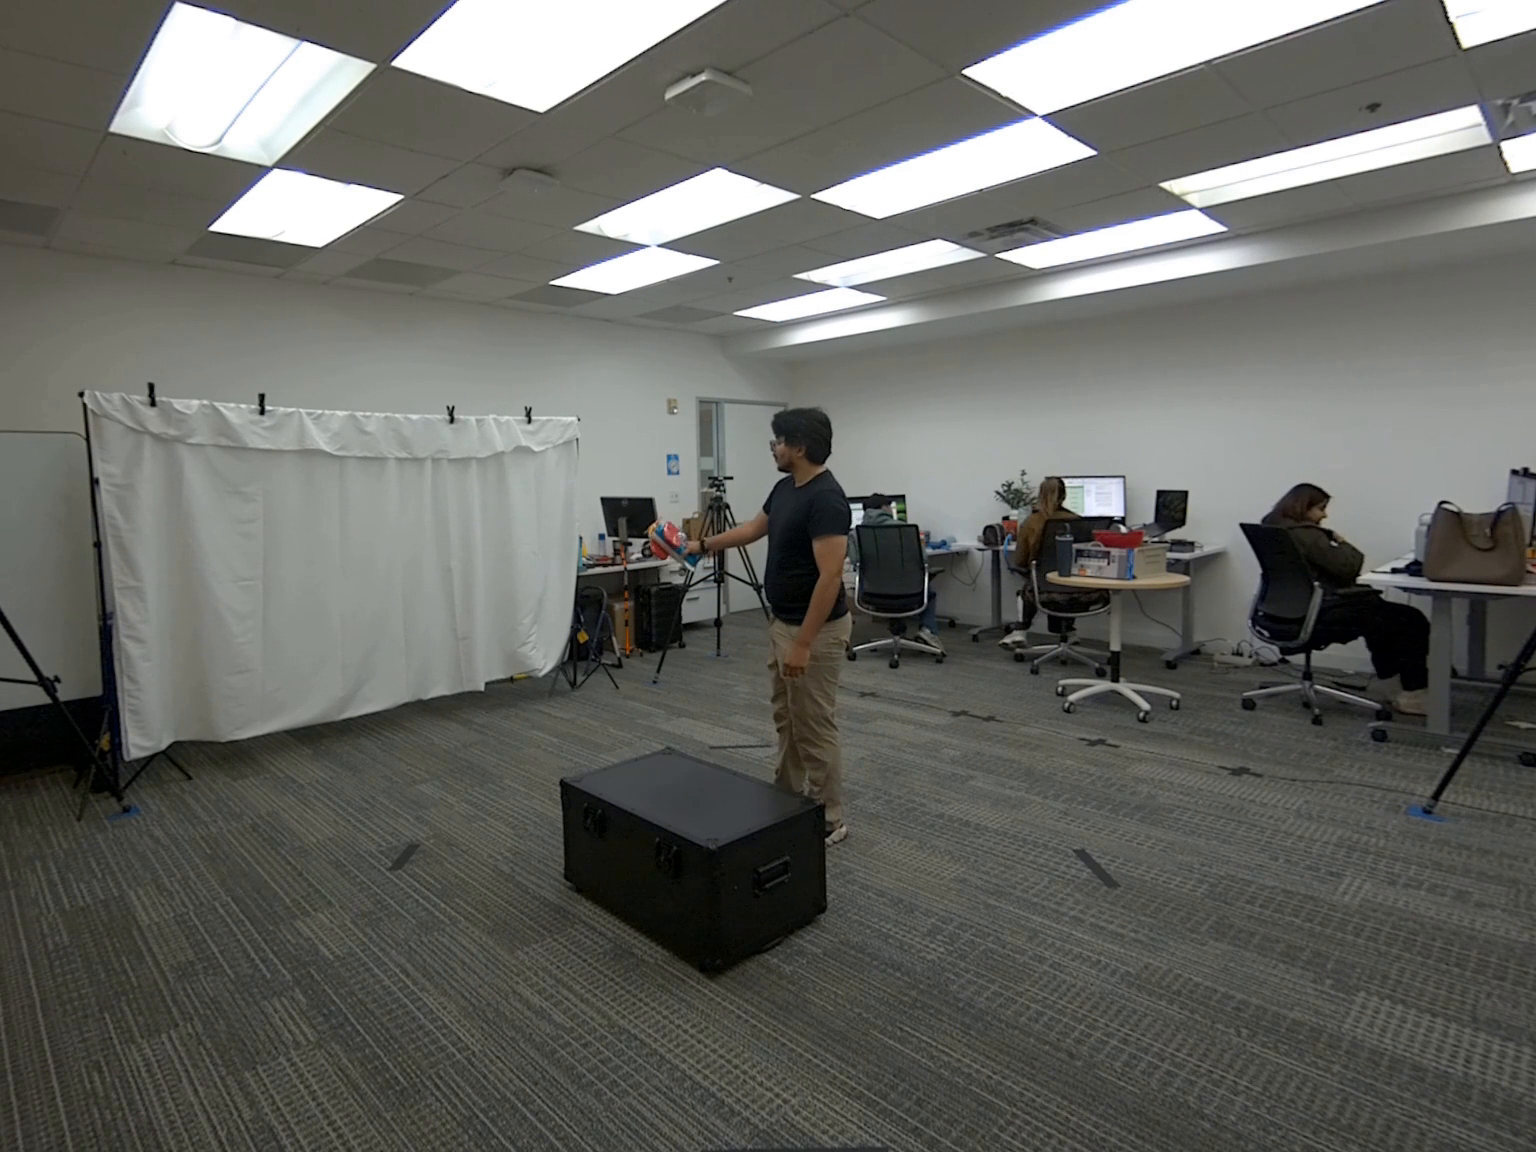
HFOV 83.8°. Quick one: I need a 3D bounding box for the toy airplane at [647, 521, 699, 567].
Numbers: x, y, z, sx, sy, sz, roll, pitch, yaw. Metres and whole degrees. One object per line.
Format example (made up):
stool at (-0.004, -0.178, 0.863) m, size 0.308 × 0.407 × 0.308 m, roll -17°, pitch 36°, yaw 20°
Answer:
toy airplane at (-0.416, -0.124, 3.653) m, size 0.250 × 0.156 × 0.261 m, roll 22°, pitch 17°, yaw -38°
